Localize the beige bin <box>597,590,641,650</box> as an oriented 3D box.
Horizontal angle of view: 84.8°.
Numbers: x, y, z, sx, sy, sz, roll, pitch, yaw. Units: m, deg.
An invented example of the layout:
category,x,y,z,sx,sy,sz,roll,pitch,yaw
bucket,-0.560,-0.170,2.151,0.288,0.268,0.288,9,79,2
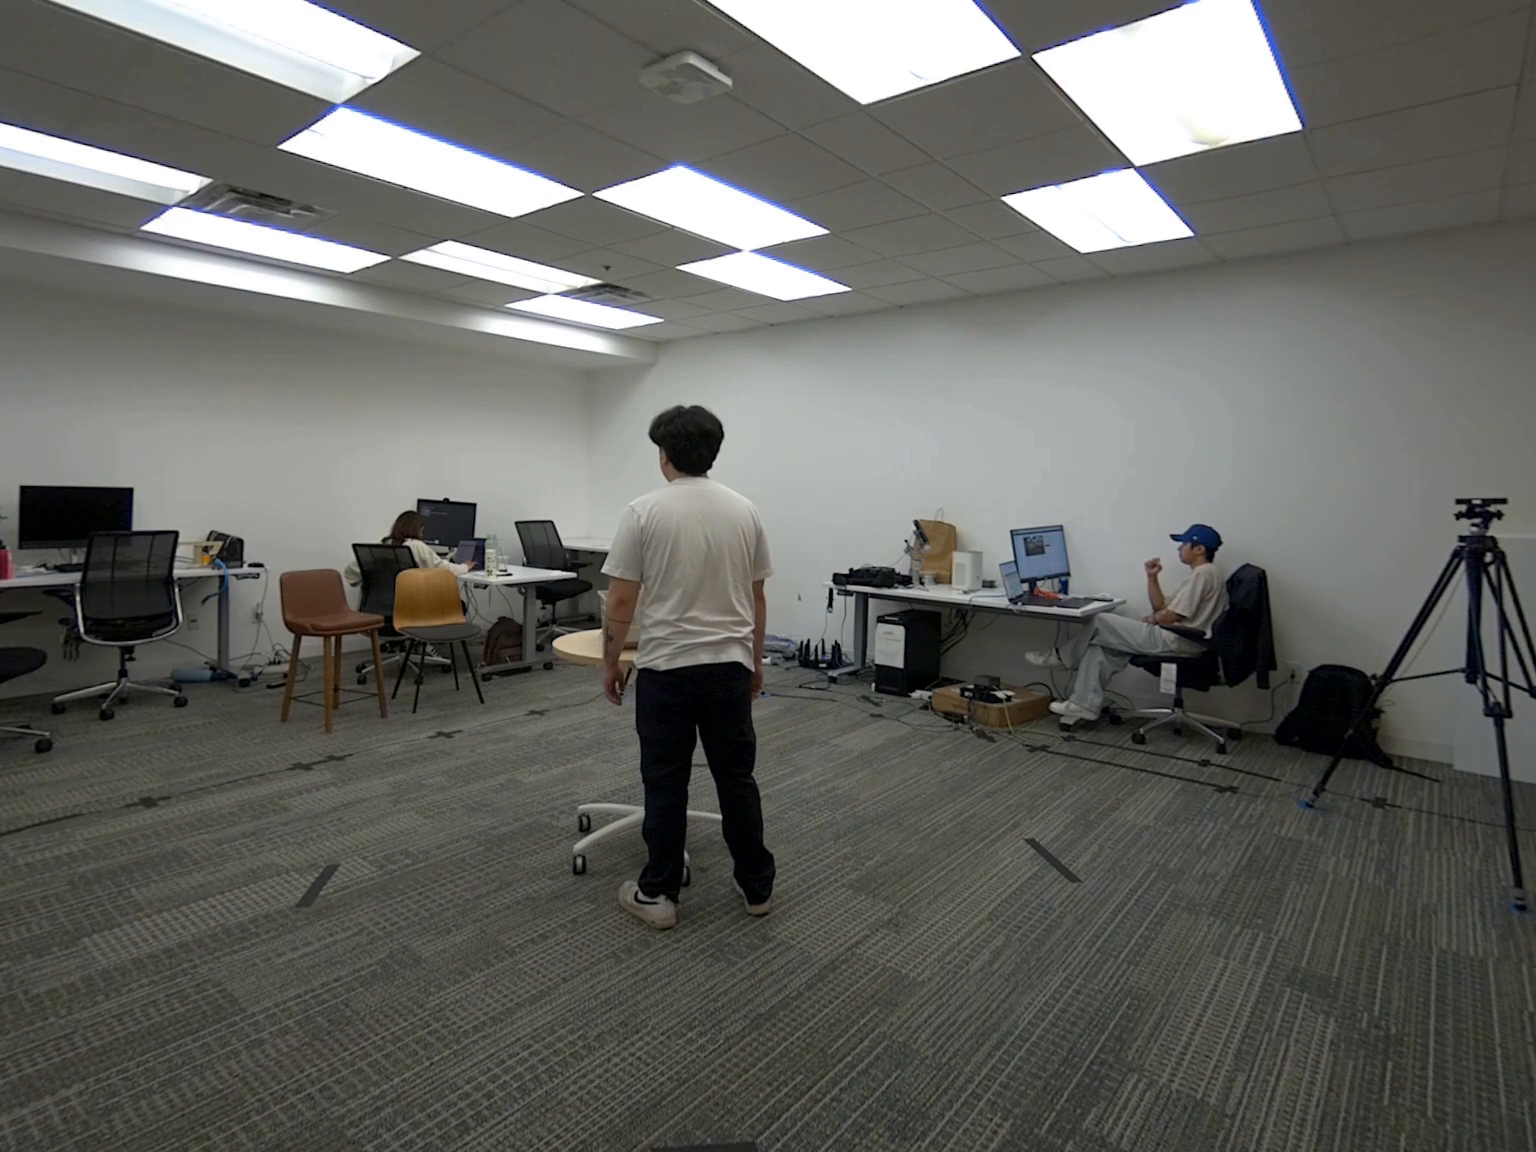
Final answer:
category,x,y,z,sx,sy,sz,roll,pitch,yaw
beige bin,-0.434,0.163,3.263,0.416,0.188,0.384,0,3,-16
